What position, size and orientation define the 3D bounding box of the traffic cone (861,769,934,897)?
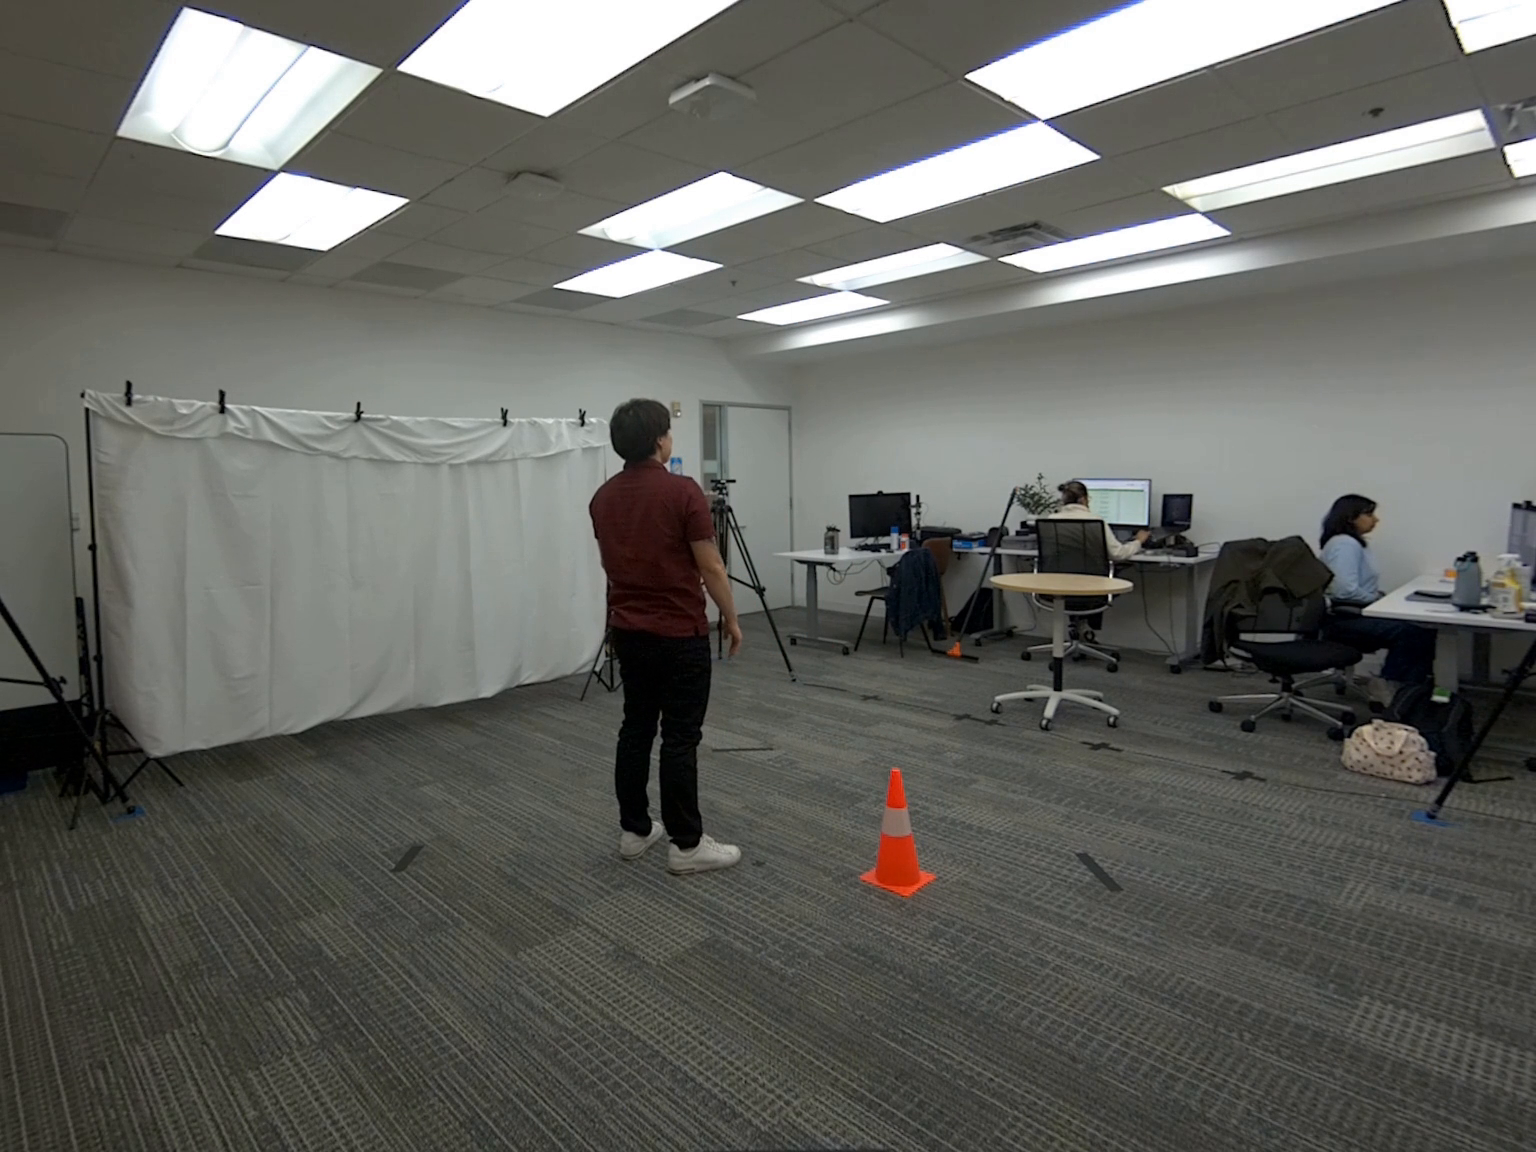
[{"bbox_3d":[0.450,0.866,2.965,0.200,0.382,0.209,-4,5,-34],"label":"traffic cone"}]
